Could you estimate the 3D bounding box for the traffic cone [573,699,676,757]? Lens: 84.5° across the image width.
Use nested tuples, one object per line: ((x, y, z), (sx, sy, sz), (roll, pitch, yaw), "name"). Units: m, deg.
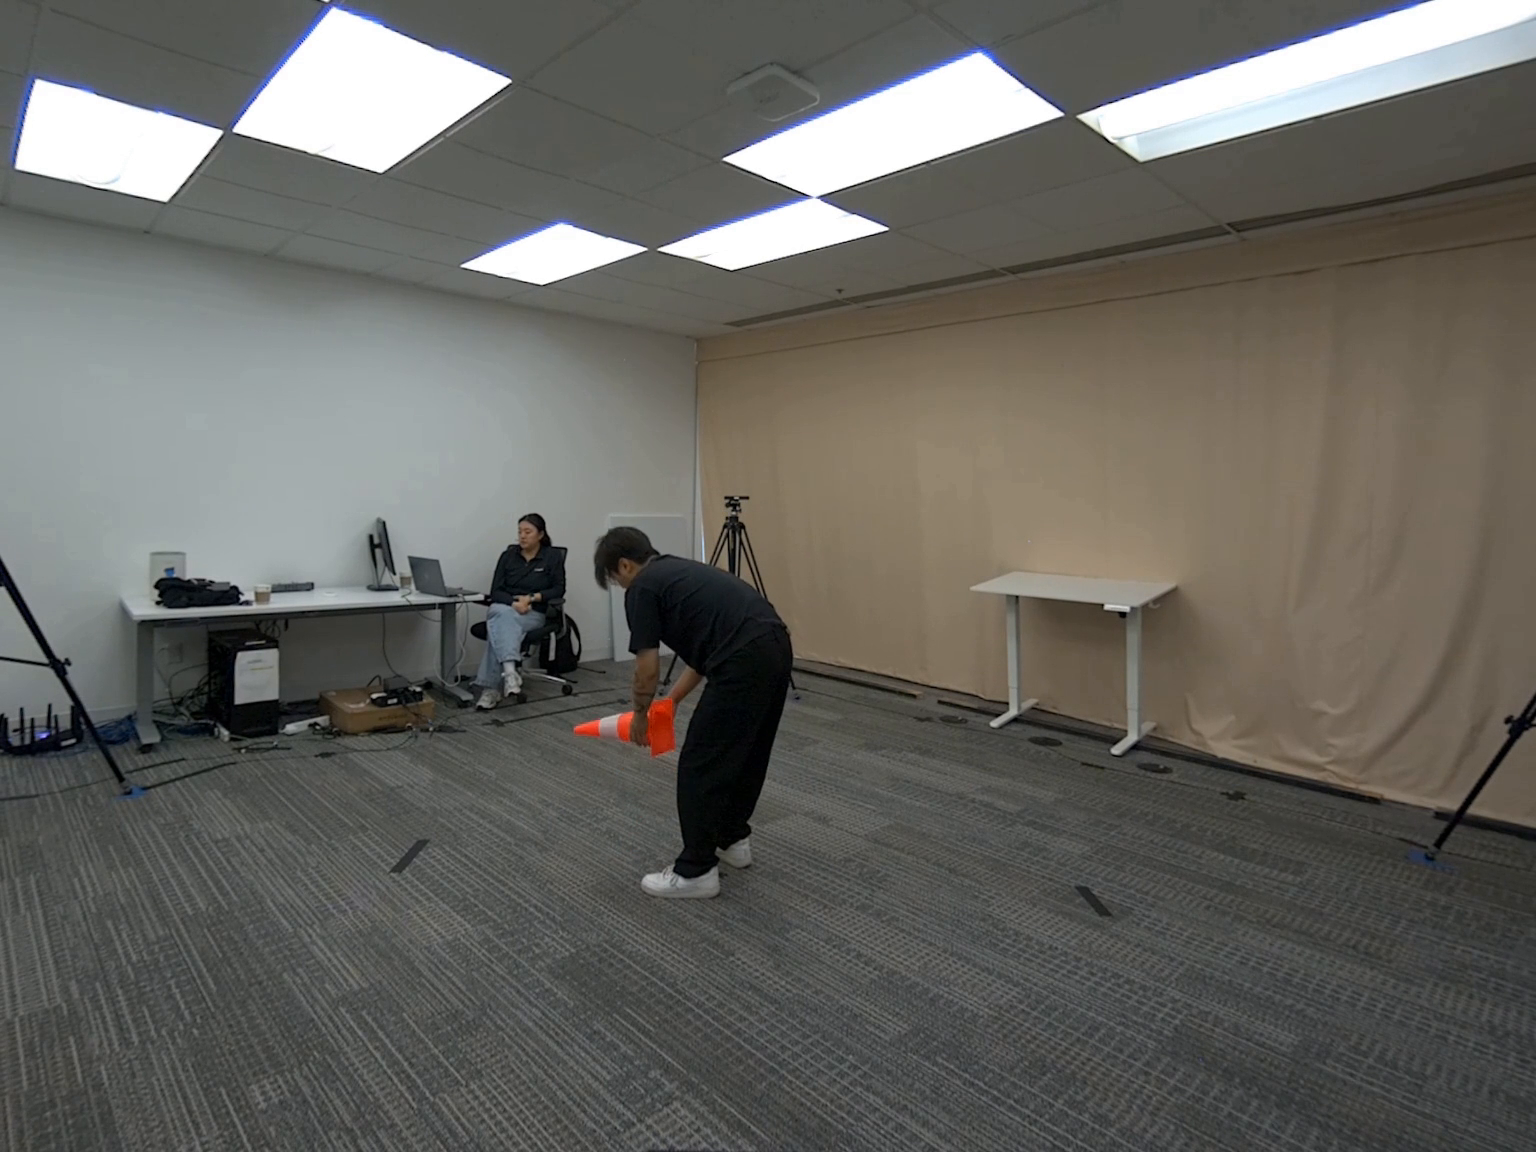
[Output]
((-0.574, 0.588, 3.252), (0.389, 0.206, 0.199), (-6, -4, 22), "traffic cone")
